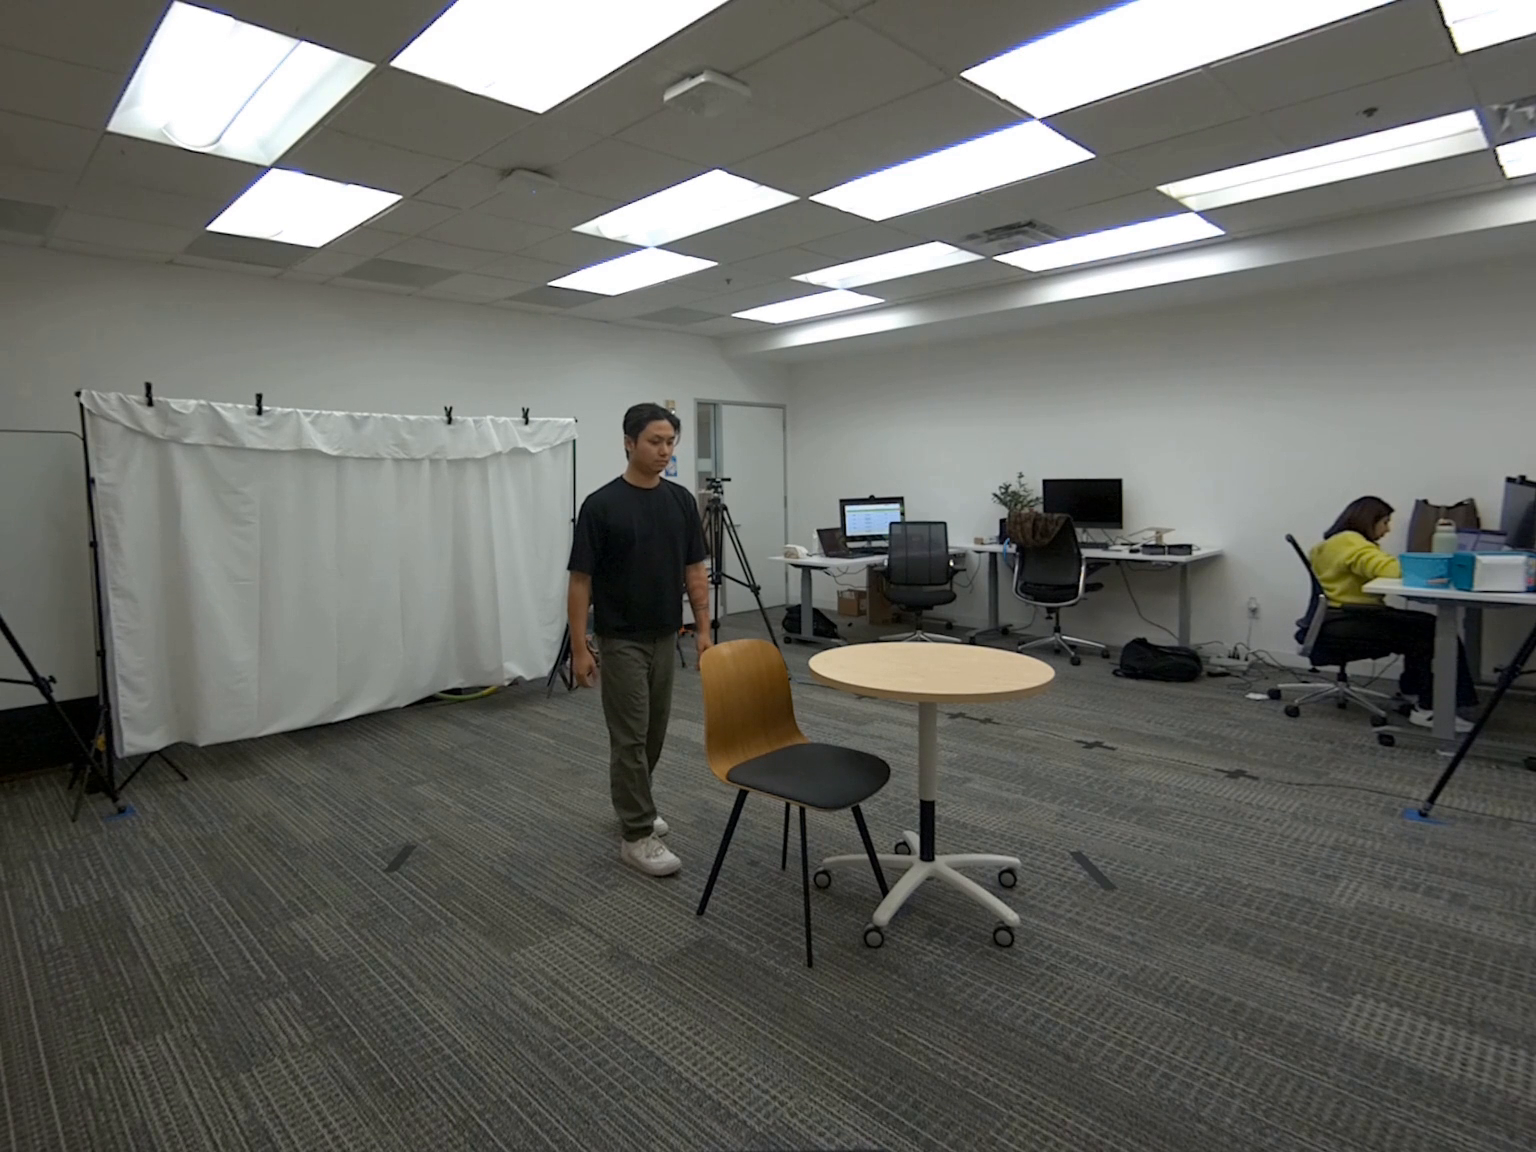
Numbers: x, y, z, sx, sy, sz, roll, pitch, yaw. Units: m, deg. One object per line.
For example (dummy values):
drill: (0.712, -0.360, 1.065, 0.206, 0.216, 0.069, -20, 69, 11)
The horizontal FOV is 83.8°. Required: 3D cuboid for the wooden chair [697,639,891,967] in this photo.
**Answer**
wooden chair: (0.090, 0.655, 2.712, 0.537, 0.877, 0.466, -3, 2, 41)
